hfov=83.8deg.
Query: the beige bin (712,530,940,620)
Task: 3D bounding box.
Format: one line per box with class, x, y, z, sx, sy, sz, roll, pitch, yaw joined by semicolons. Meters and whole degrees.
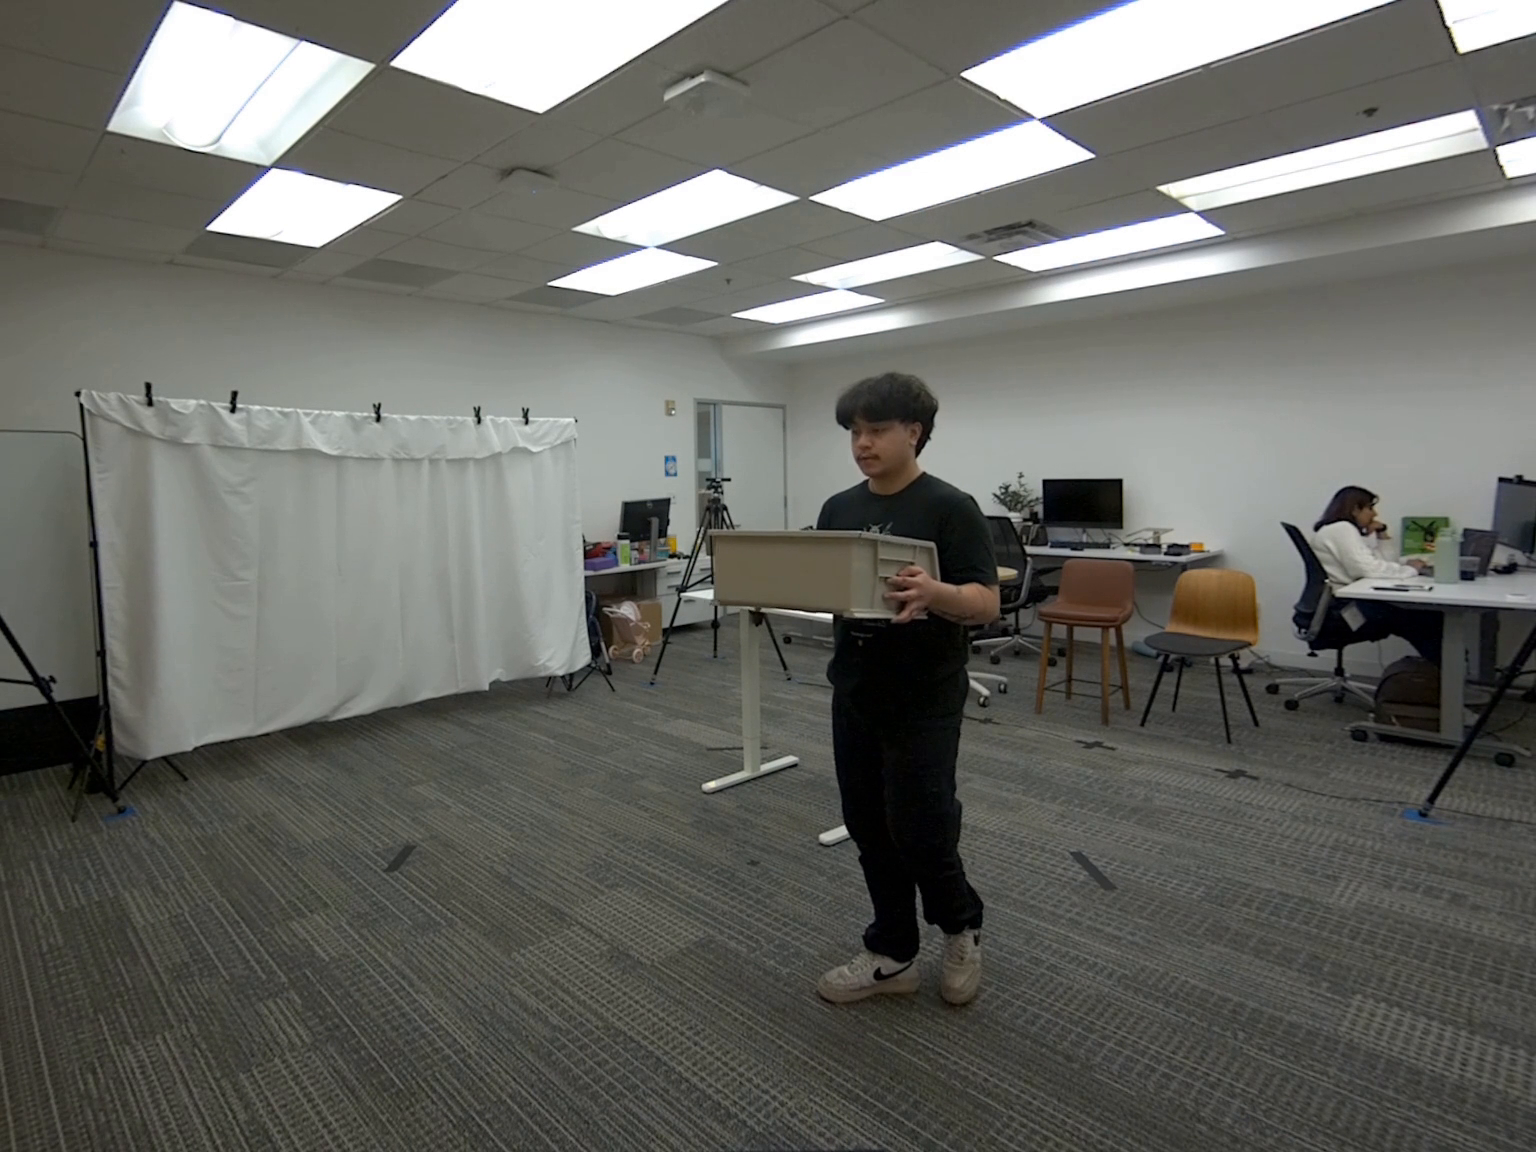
beige bin;0.135;0.001;2.028;0.435;0.189;0.366;3;0;39
